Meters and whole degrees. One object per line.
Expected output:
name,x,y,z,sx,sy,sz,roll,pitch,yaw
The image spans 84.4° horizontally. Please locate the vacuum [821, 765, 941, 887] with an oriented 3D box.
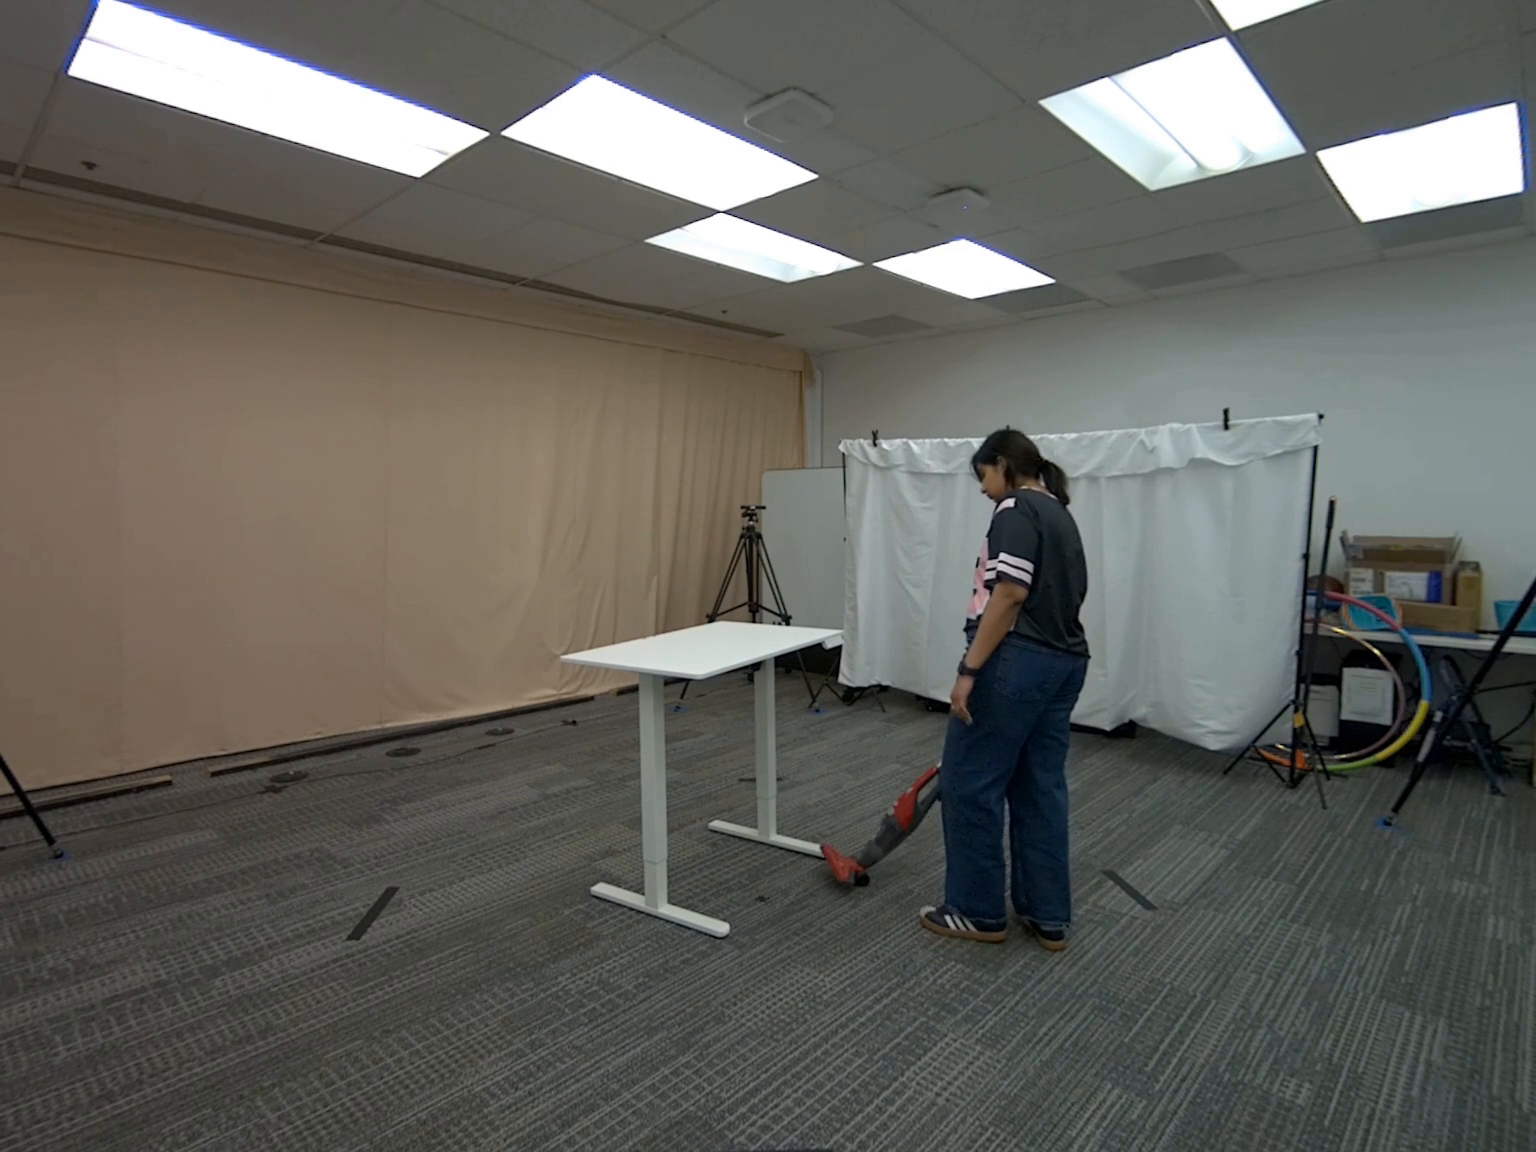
vacuum,0.666,0.740,3.120,1.049,0.142,0.256,-44,14,-1
